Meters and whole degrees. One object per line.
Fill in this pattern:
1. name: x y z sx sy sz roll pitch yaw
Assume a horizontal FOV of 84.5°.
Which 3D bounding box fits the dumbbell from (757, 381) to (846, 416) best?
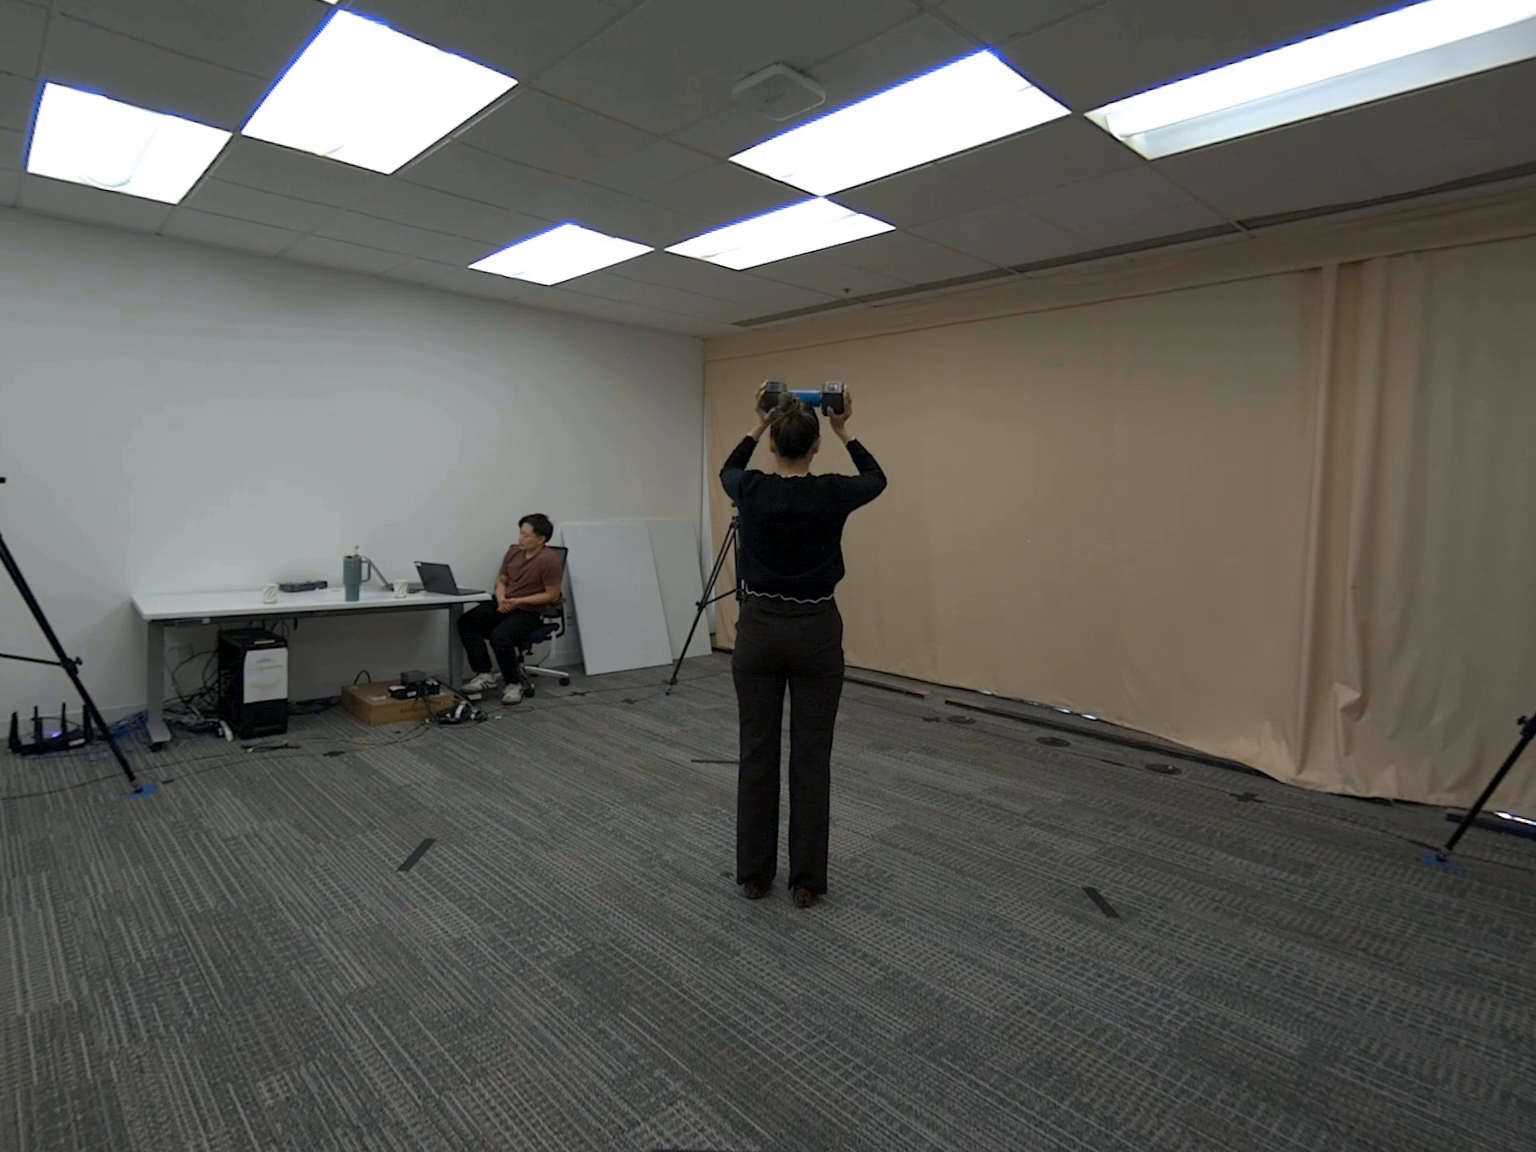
1. dumbbell: 0.124 -0.629 3.033 0.297 0.110 0.120 2 -14 13
